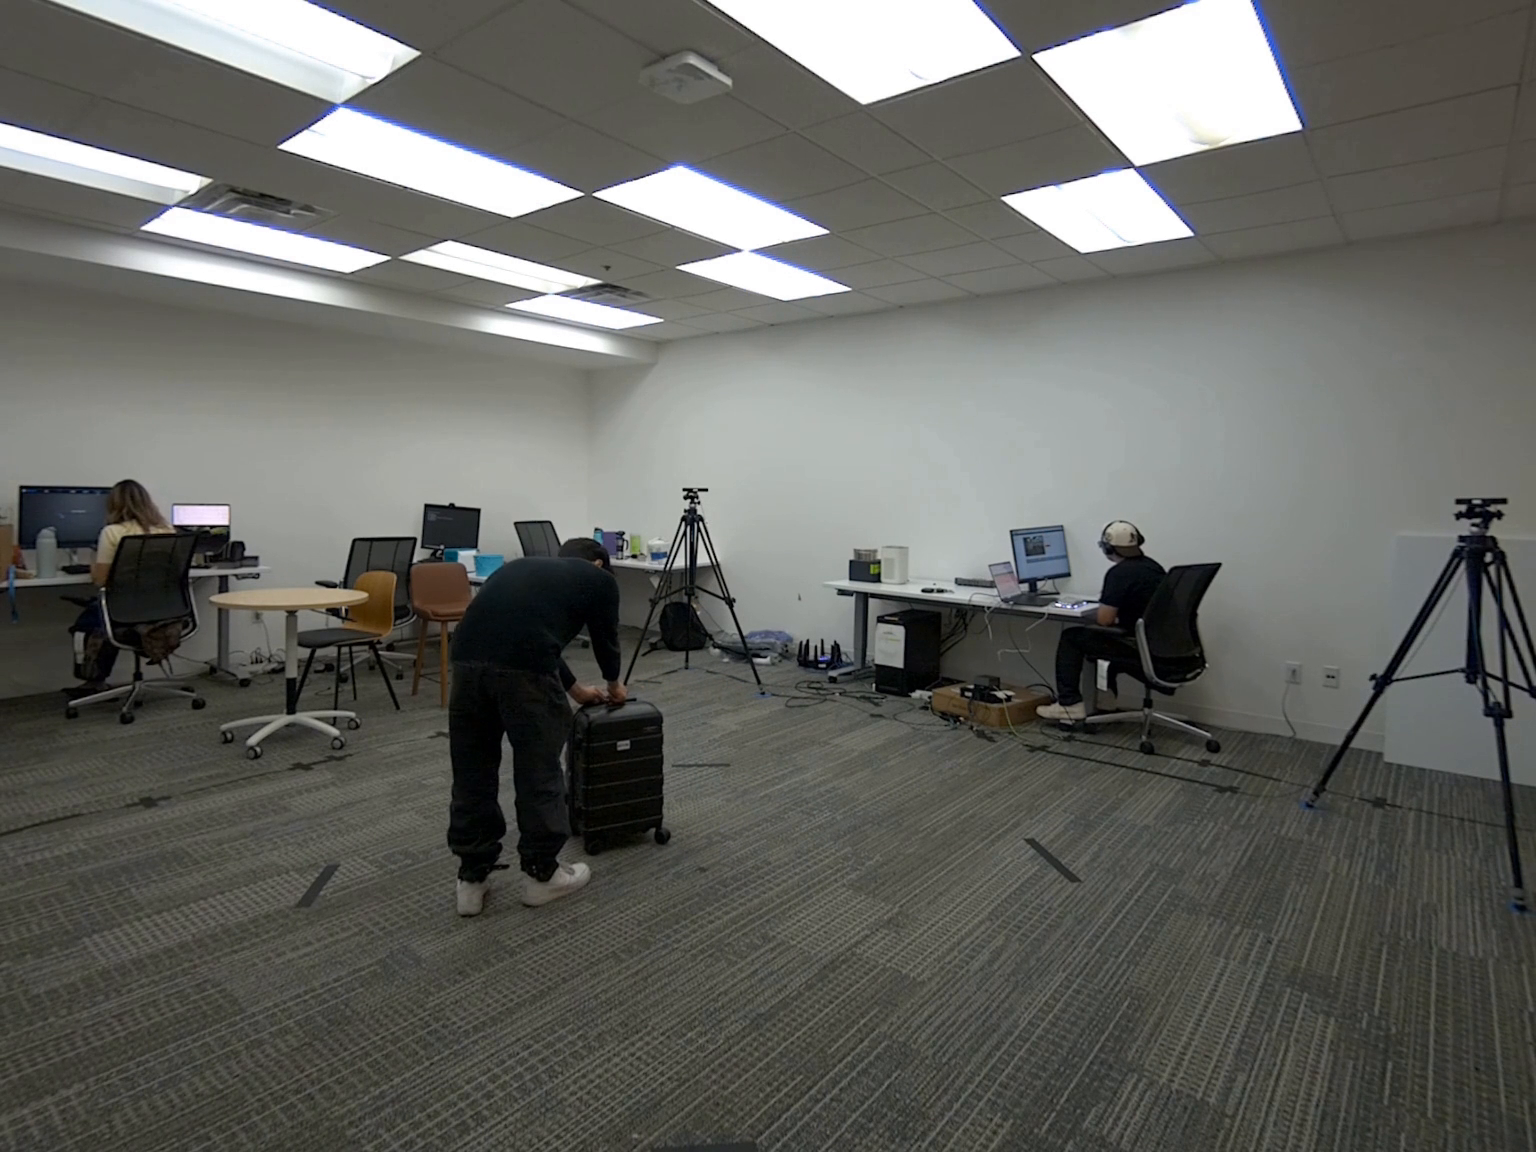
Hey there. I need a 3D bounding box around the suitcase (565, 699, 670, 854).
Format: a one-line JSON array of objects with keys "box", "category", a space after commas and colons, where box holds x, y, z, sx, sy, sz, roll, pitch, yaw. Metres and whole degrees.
[{"box": [-0.616, 0.763, 3.363, 0.366, 0.547, 0.256, -2, 4, -29], "category": "suitcase"}]
